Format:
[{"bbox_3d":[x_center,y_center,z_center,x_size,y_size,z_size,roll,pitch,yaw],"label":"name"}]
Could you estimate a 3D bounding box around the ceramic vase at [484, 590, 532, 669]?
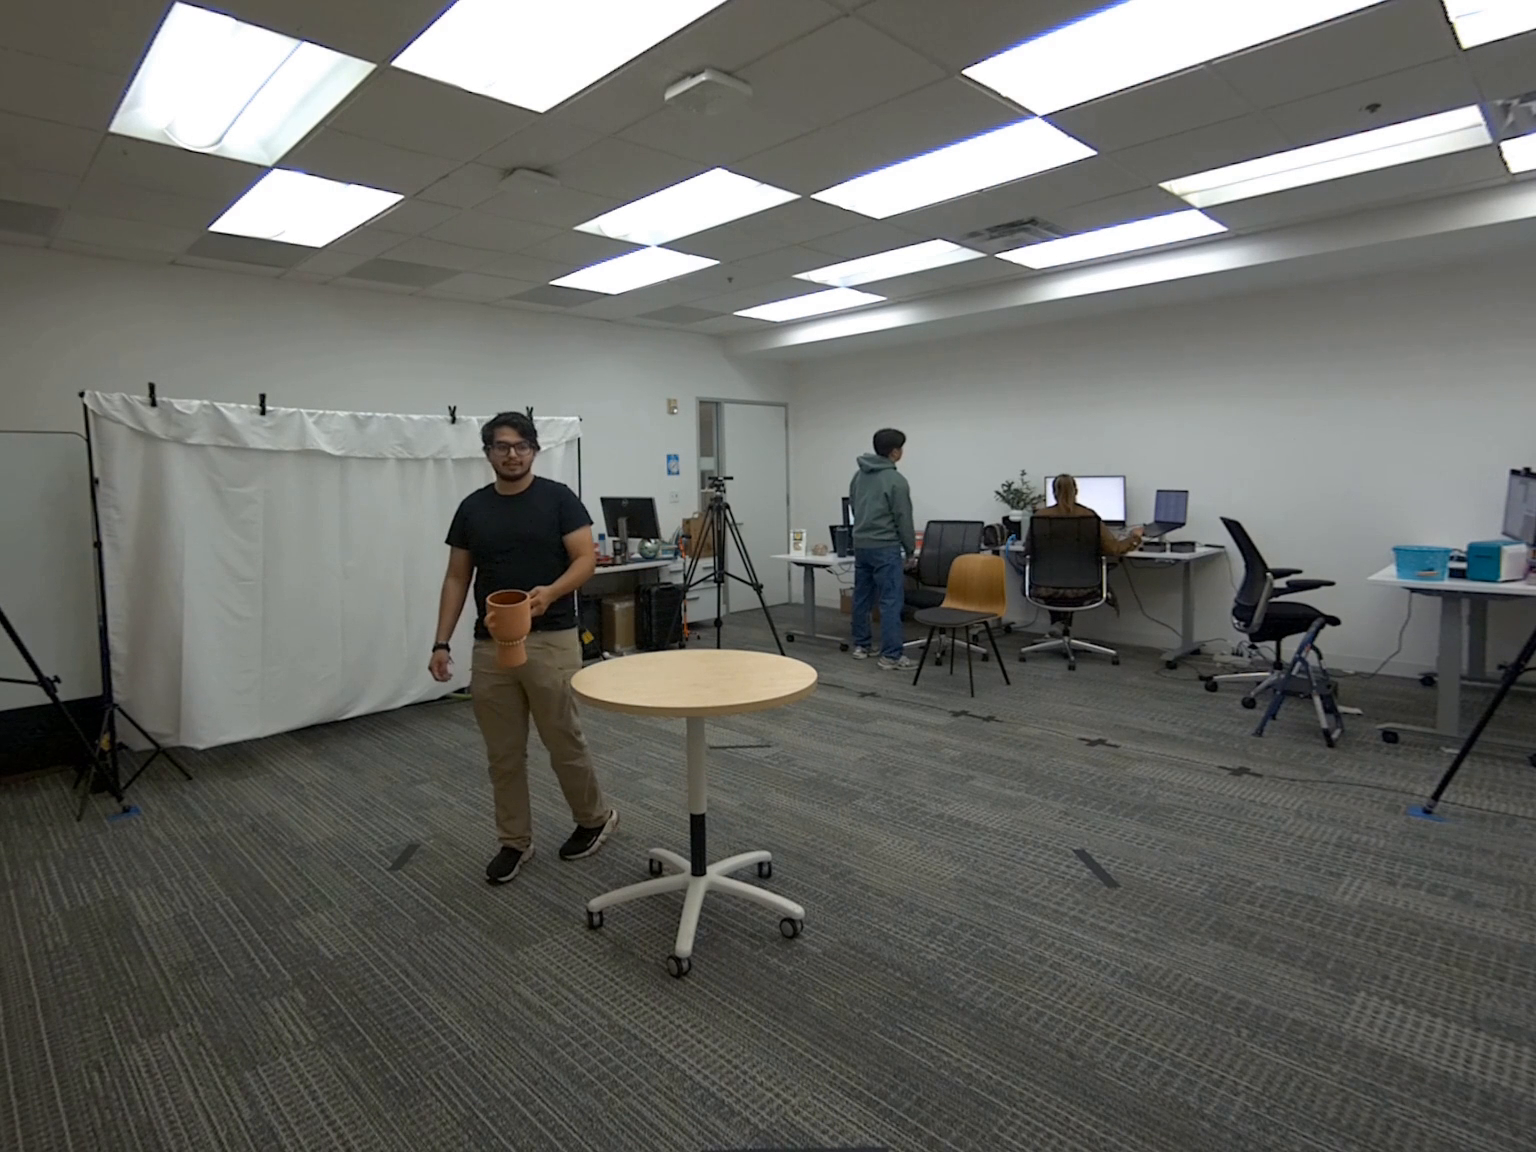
[{"bbox_3d":[-0.818,0.175,2.721,0.156,0.216,0.139,-6,21,-20],"label":"ceramic vase"}]
